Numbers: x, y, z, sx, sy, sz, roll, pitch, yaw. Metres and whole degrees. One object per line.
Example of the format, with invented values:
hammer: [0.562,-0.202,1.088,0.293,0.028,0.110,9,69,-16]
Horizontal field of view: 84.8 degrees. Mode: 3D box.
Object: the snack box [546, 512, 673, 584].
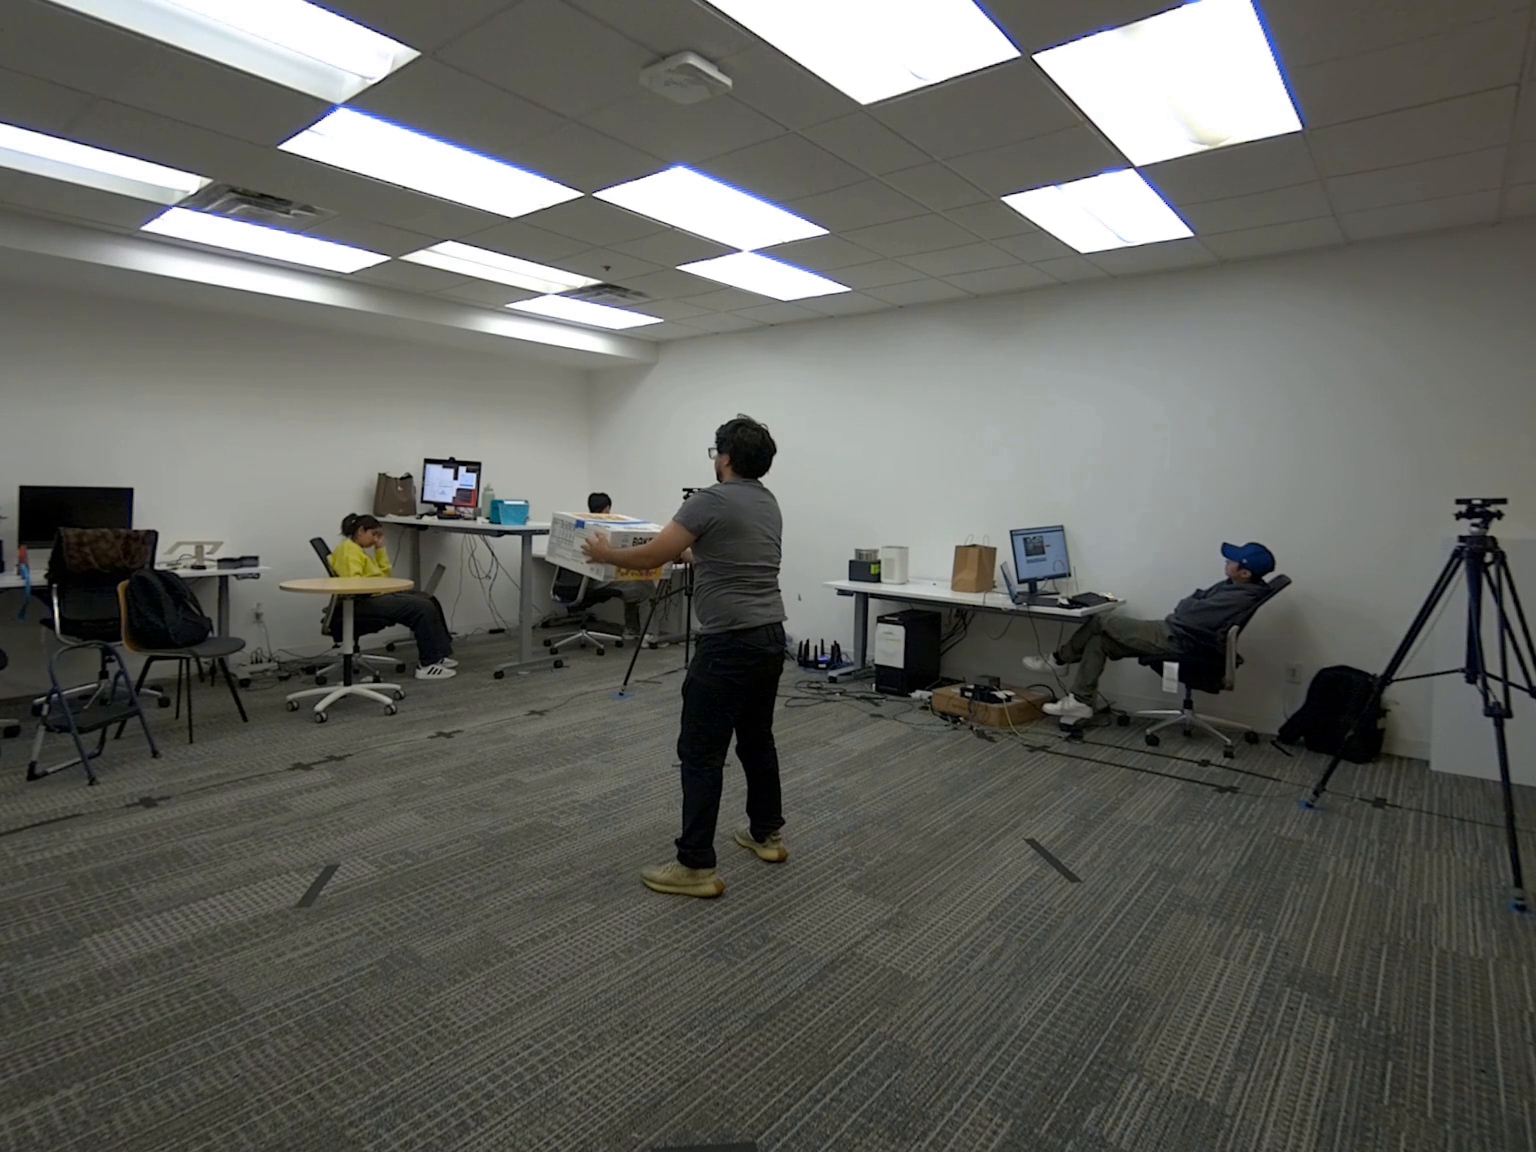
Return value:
snack box: [-0.647,-0.123,3.483,0.352,0.204,0.393,15,11,33]
